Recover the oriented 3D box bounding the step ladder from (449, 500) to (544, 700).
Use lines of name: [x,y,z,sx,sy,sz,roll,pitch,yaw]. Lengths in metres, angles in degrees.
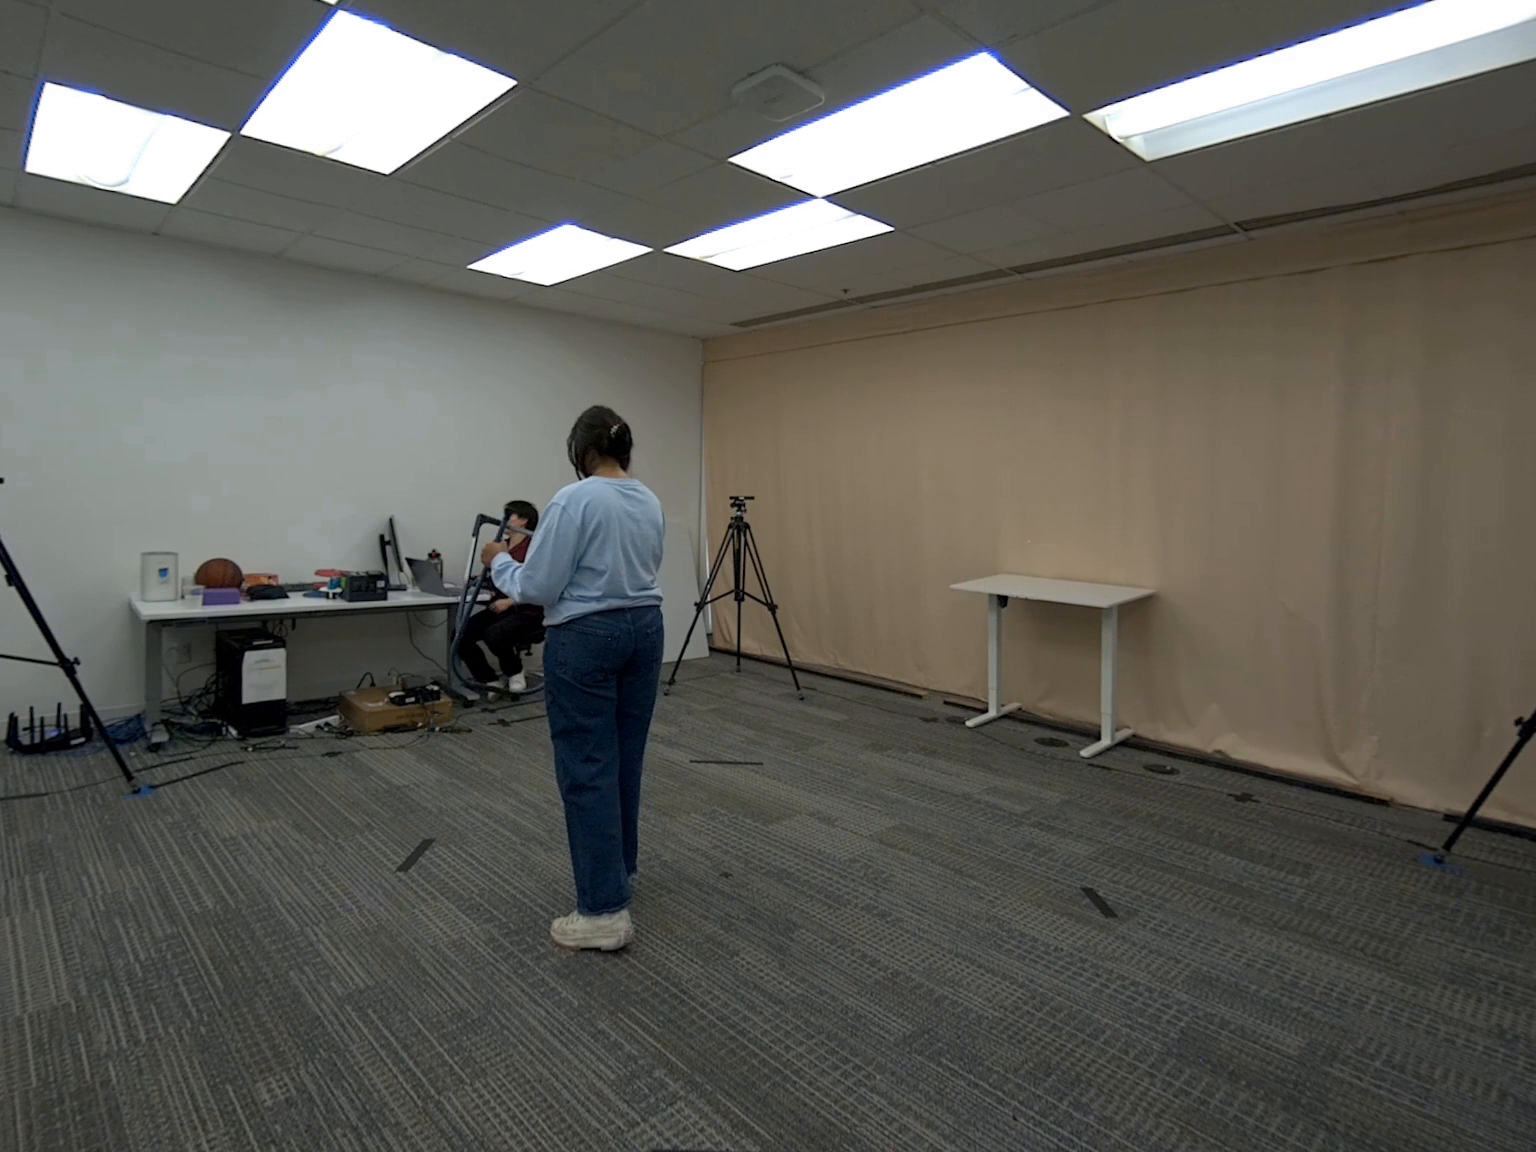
step ladder: [-0.858,0.124,2.975,0.419,0.609,0.357,20,-12,-33]
